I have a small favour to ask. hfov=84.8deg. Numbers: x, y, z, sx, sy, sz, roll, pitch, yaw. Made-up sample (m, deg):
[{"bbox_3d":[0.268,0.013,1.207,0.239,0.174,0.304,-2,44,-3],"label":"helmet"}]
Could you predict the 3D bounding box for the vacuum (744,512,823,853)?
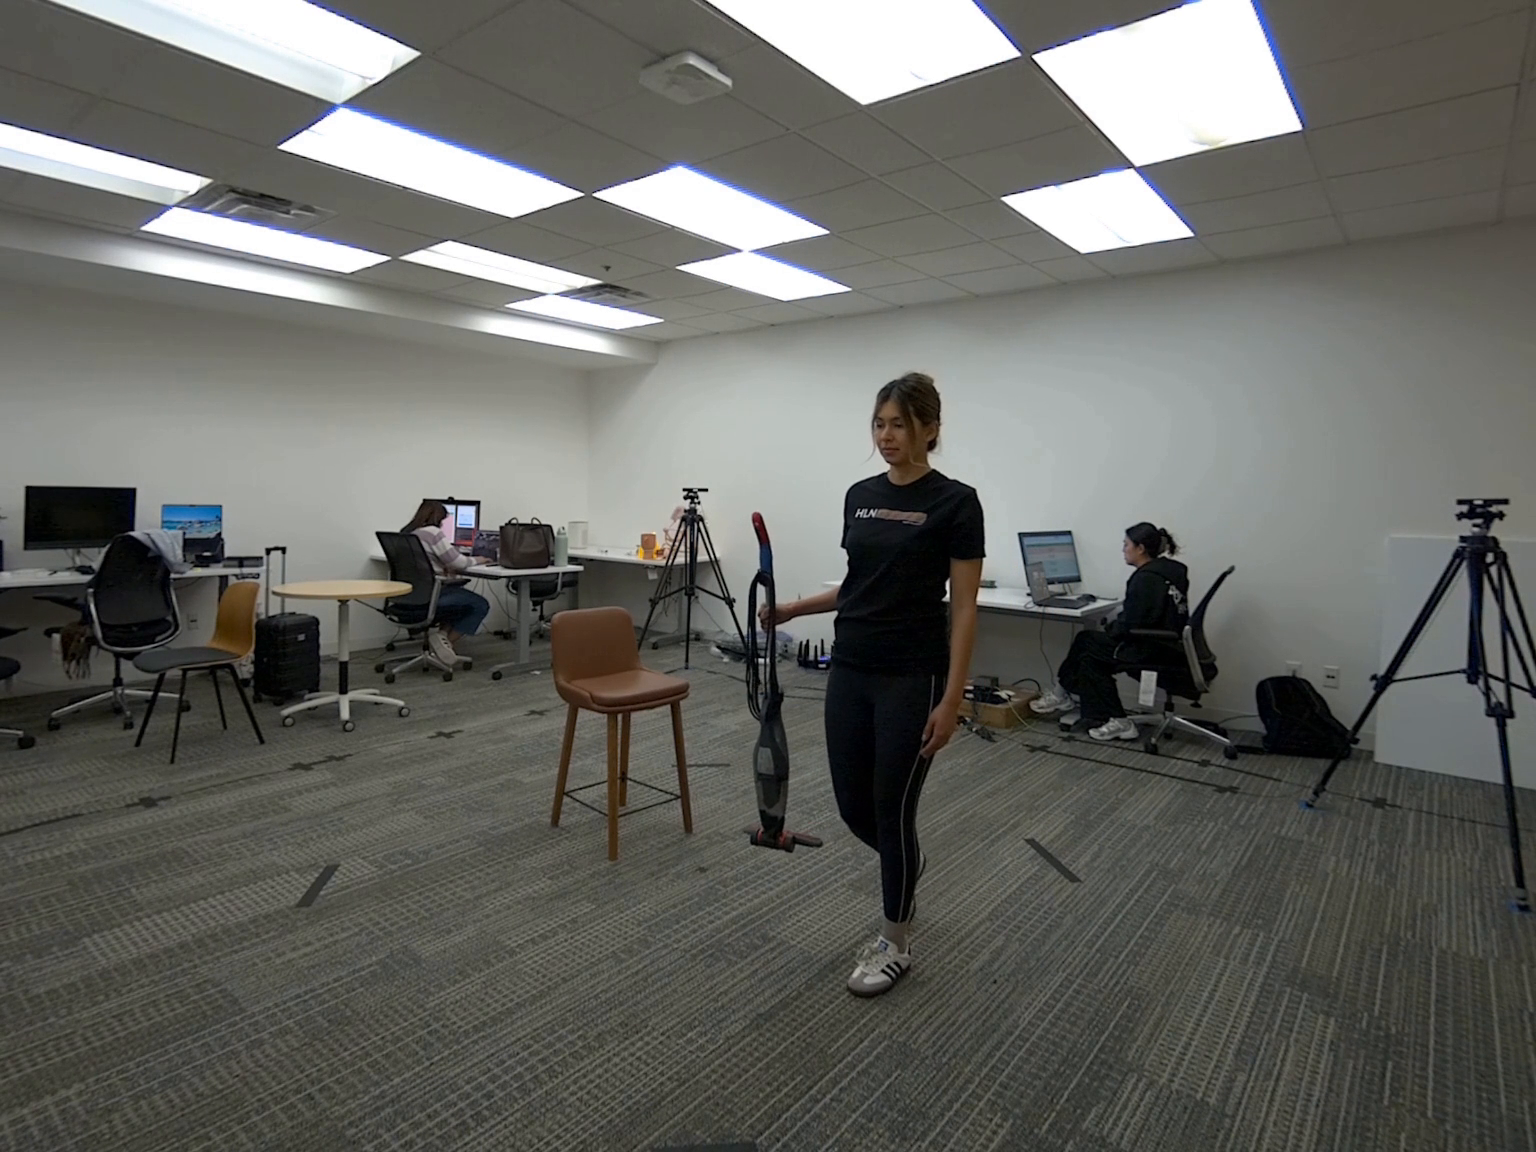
[{"bbox_3d":[-0.014,0.333,2.524,0.261,1.034,0.141,5,17,36],"label":"vacuum"}]
